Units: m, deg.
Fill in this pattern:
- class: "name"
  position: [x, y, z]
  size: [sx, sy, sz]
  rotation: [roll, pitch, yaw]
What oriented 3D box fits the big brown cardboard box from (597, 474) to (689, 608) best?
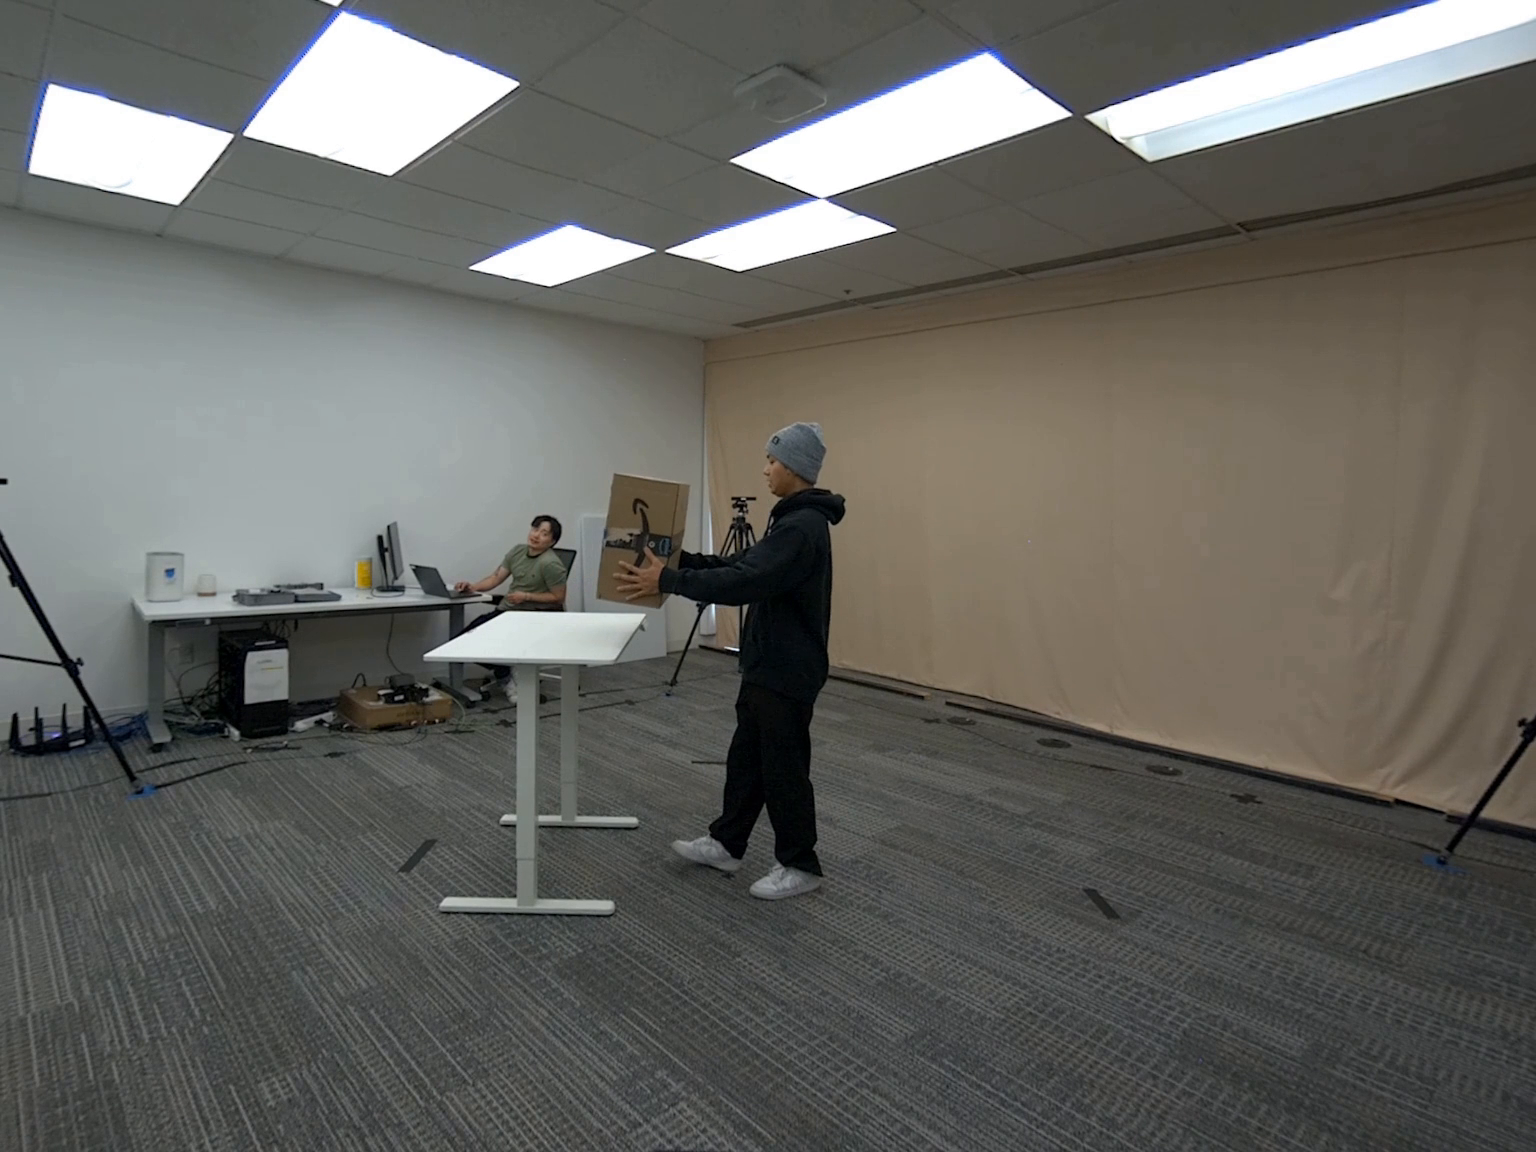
- class: "big brown cardboard box"
  position: [-0.438, -0.141, 2.998]
  size: [0.233, 0.416, 0.591]
  rotation: [8, 4, -2]
